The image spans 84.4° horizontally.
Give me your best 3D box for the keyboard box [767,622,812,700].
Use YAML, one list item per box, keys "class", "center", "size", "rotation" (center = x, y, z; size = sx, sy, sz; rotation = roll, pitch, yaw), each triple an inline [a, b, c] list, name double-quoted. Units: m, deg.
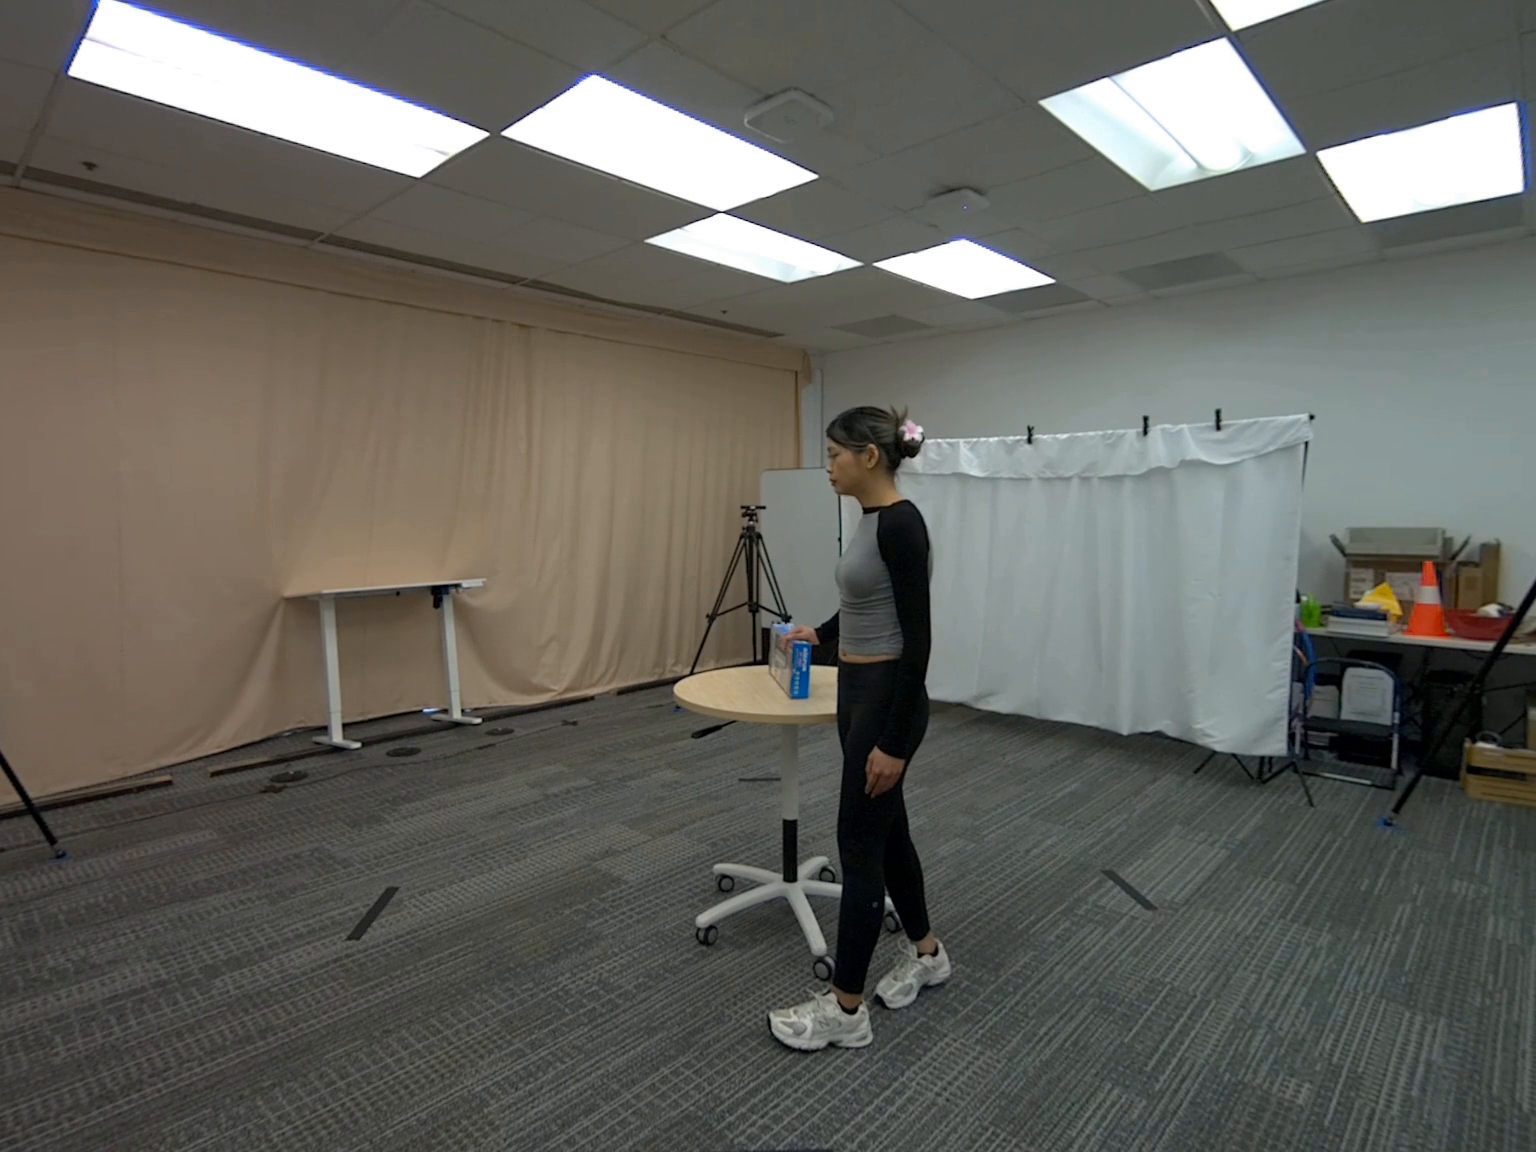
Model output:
- class: "keyboard box"
  center: [0.072, 0.275, 2.812]
  size: [0.058, 0.175, 0.441]
  rotation: [2, 4, -10]
